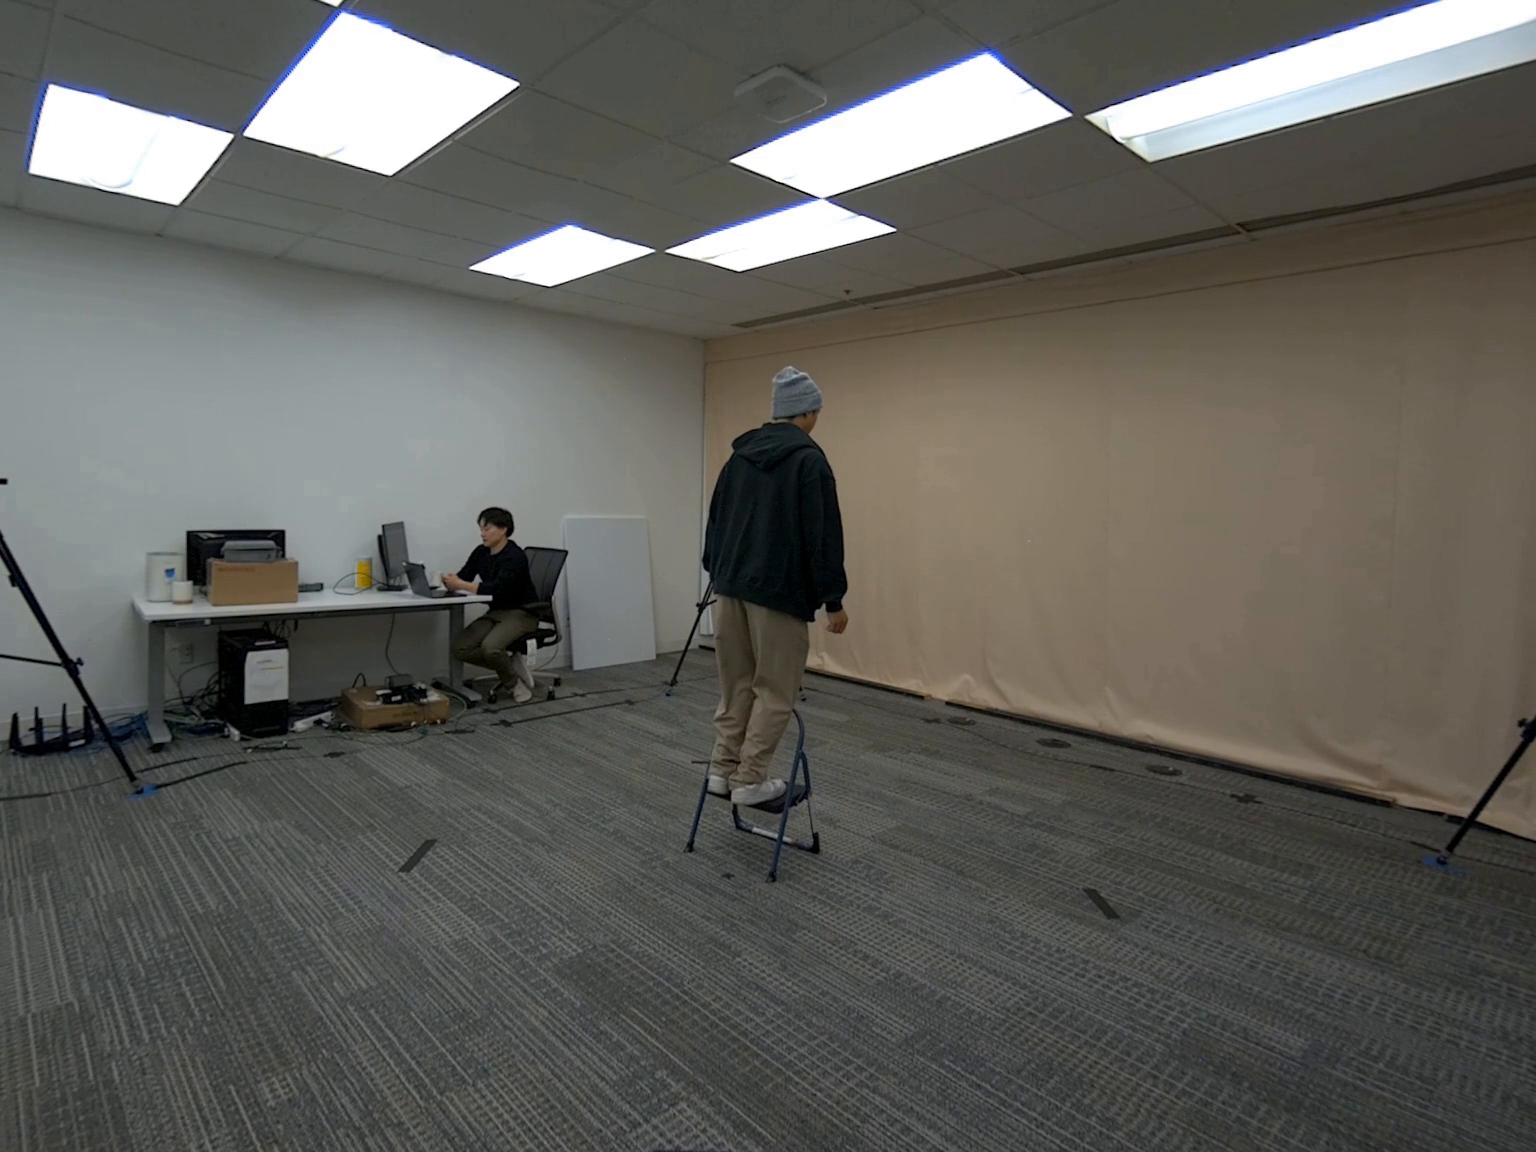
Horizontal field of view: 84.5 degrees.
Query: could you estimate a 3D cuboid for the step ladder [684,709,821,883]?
[{"bbox_3d":[-0.053,0.792,3.308,0.441,0.605,0.341,4,4,36],"label":"step ladder"}]
